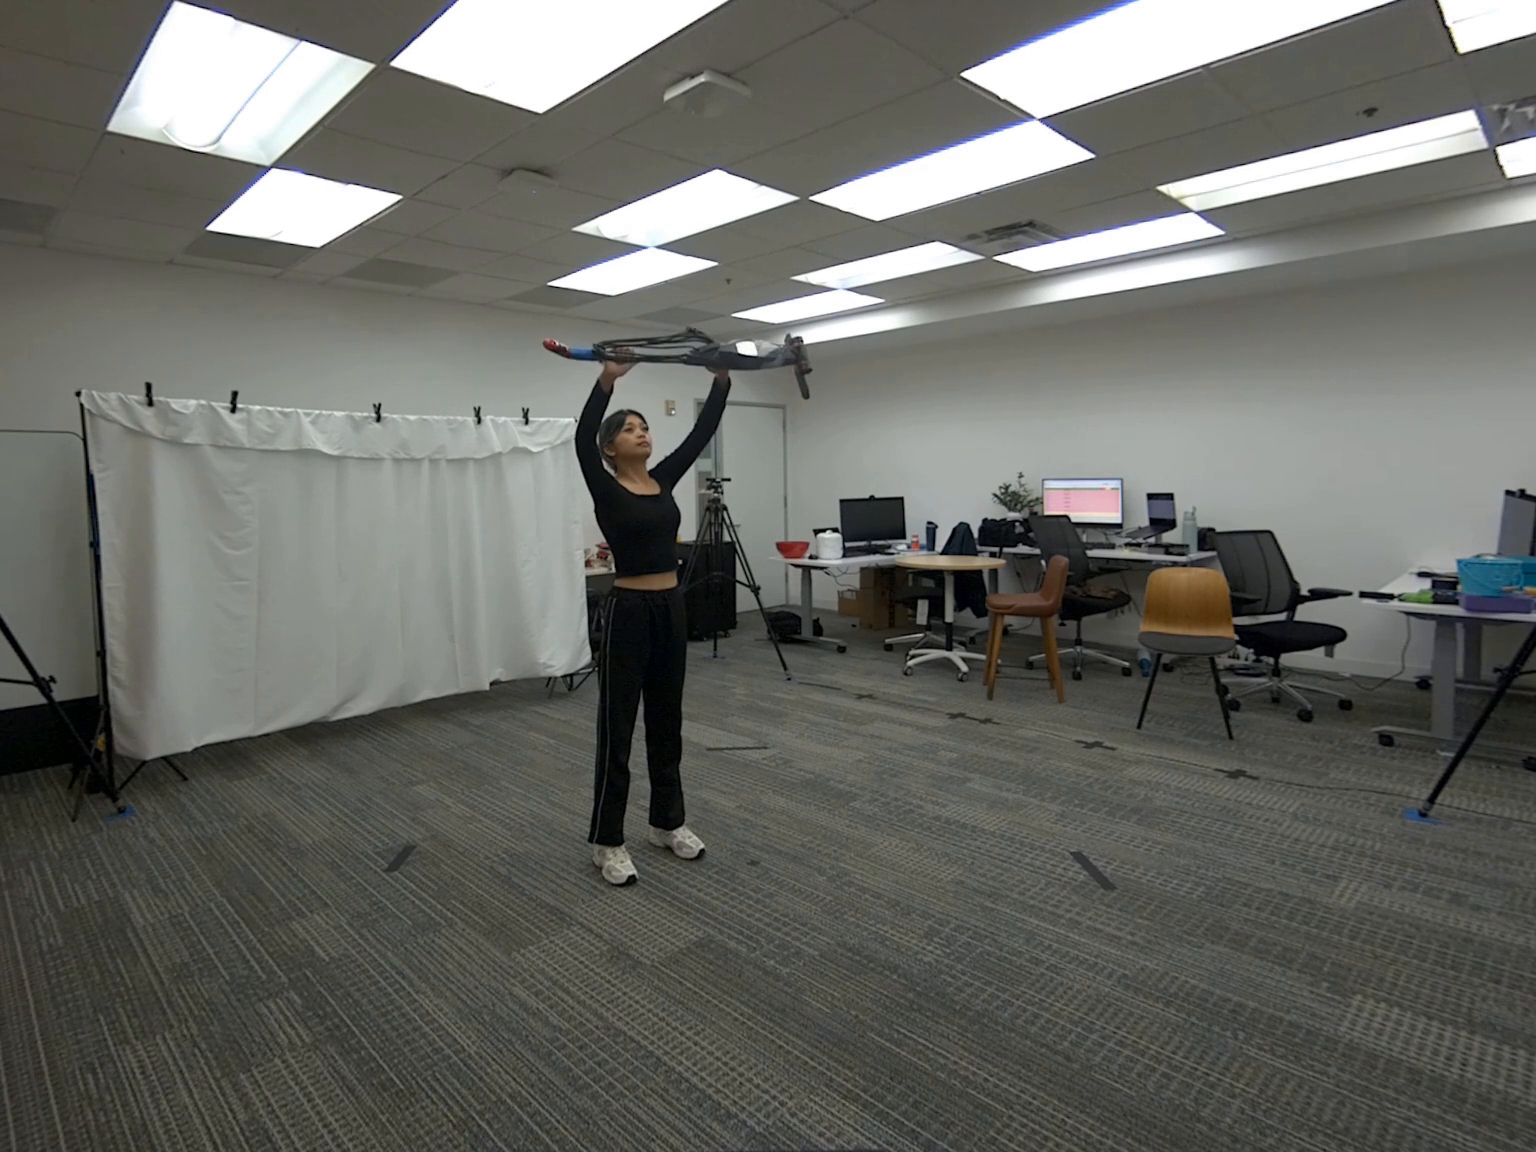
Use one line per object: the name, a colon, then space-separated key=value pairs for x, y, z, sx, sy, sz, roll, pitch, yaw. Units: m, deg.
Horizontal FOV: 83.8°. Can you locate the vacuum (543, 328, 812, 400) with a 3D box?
vacuum: x=-0.245 y=-0.721 z=2.793 sx=1.023 sy=0.256 sz=0.146 roll=-9 pitch=-13 yaw=-42
